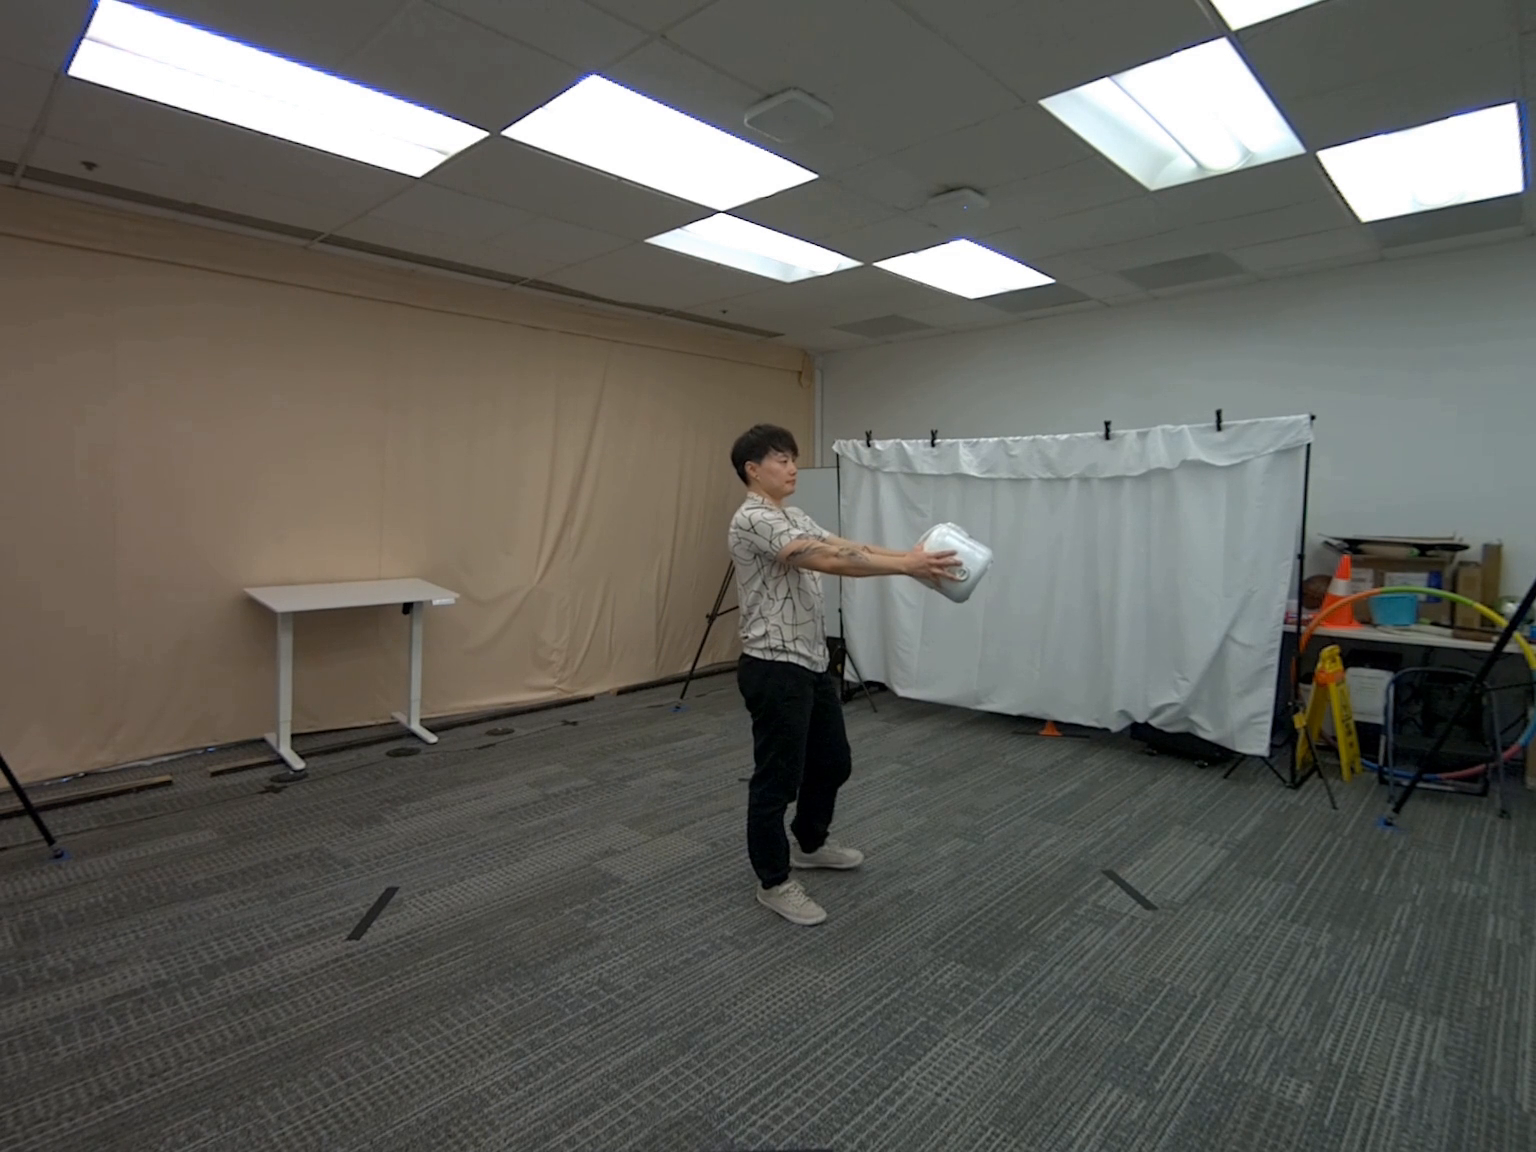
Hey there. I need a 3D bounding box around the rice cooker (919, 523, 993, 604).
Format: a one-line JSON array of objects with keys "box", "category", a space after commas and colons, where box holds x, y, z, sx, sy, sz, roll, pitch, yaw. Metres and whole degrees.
[{"box": [0.585, -0.048, 2.730, 0.237, 0.220, 0.213, 33, 14, 14], "category": "rice cooker"}]
